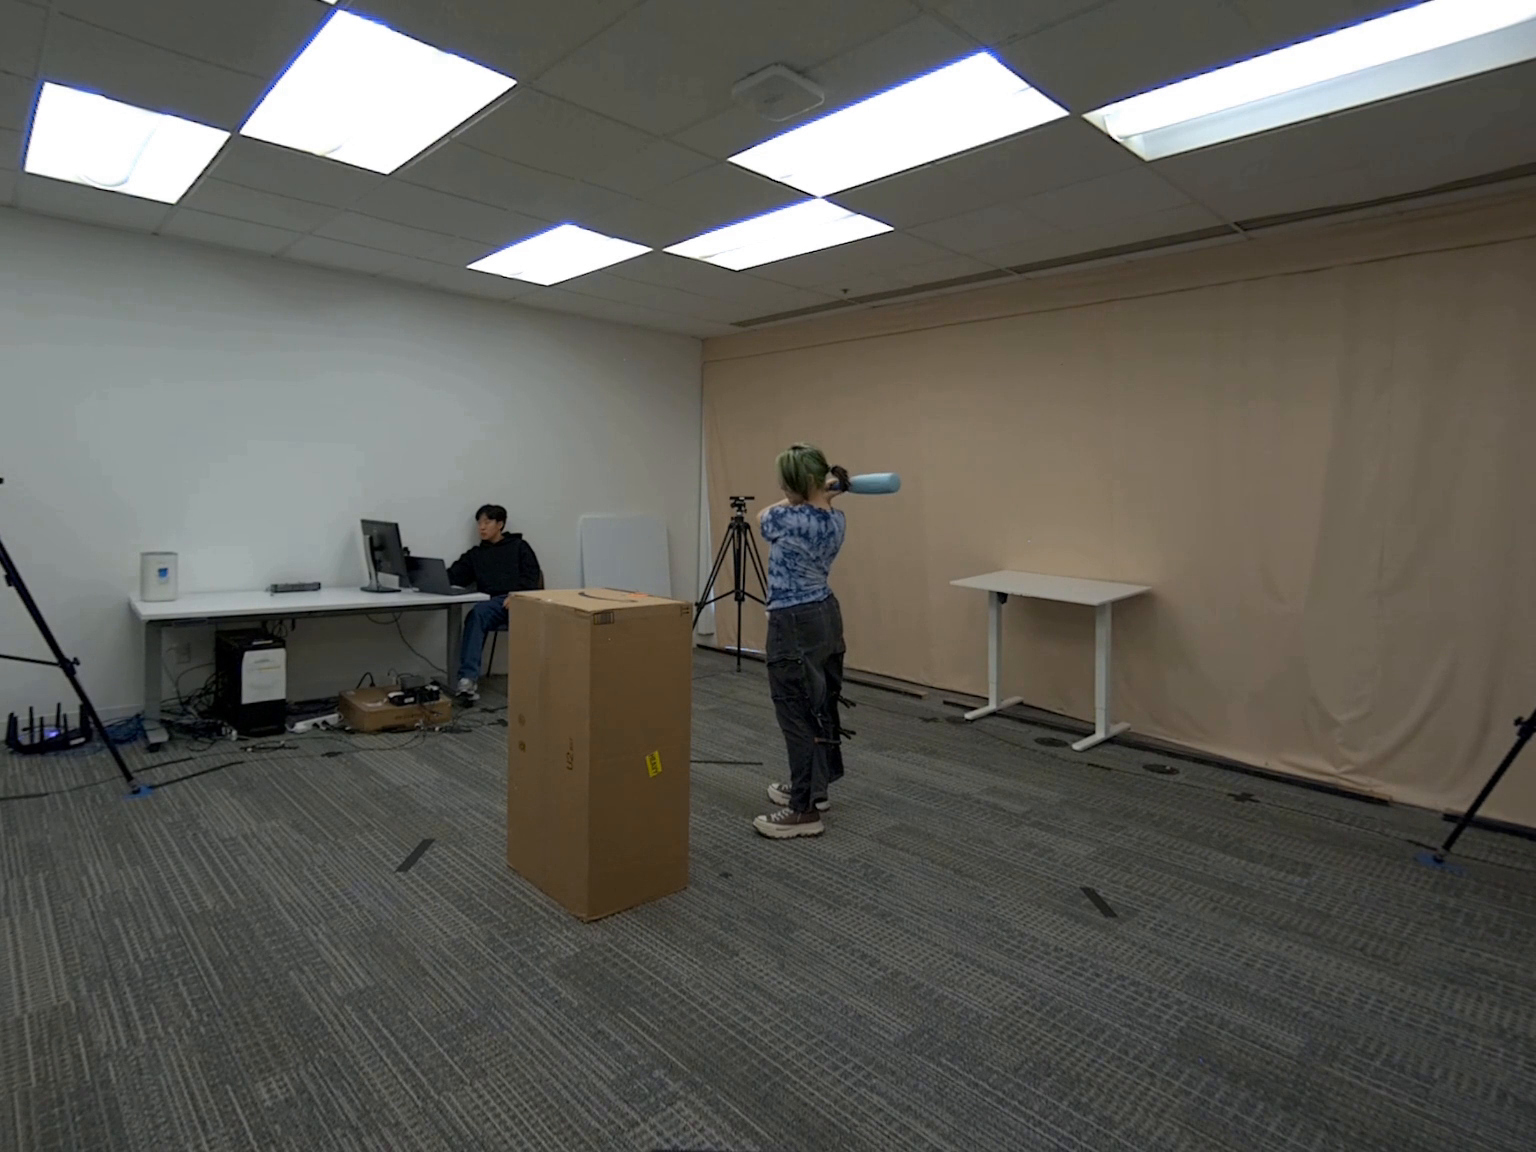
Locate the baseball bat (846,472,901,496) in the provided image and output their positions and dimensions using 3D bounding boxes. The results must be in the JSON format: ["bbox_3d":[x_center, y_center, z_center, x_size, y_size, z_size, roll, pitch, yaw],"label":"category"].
[{"bbox_3d":[0.343,-0.402,3.719,0.087,0.089,0.556,-2,4,-39],"label":"baseball bat"}]
